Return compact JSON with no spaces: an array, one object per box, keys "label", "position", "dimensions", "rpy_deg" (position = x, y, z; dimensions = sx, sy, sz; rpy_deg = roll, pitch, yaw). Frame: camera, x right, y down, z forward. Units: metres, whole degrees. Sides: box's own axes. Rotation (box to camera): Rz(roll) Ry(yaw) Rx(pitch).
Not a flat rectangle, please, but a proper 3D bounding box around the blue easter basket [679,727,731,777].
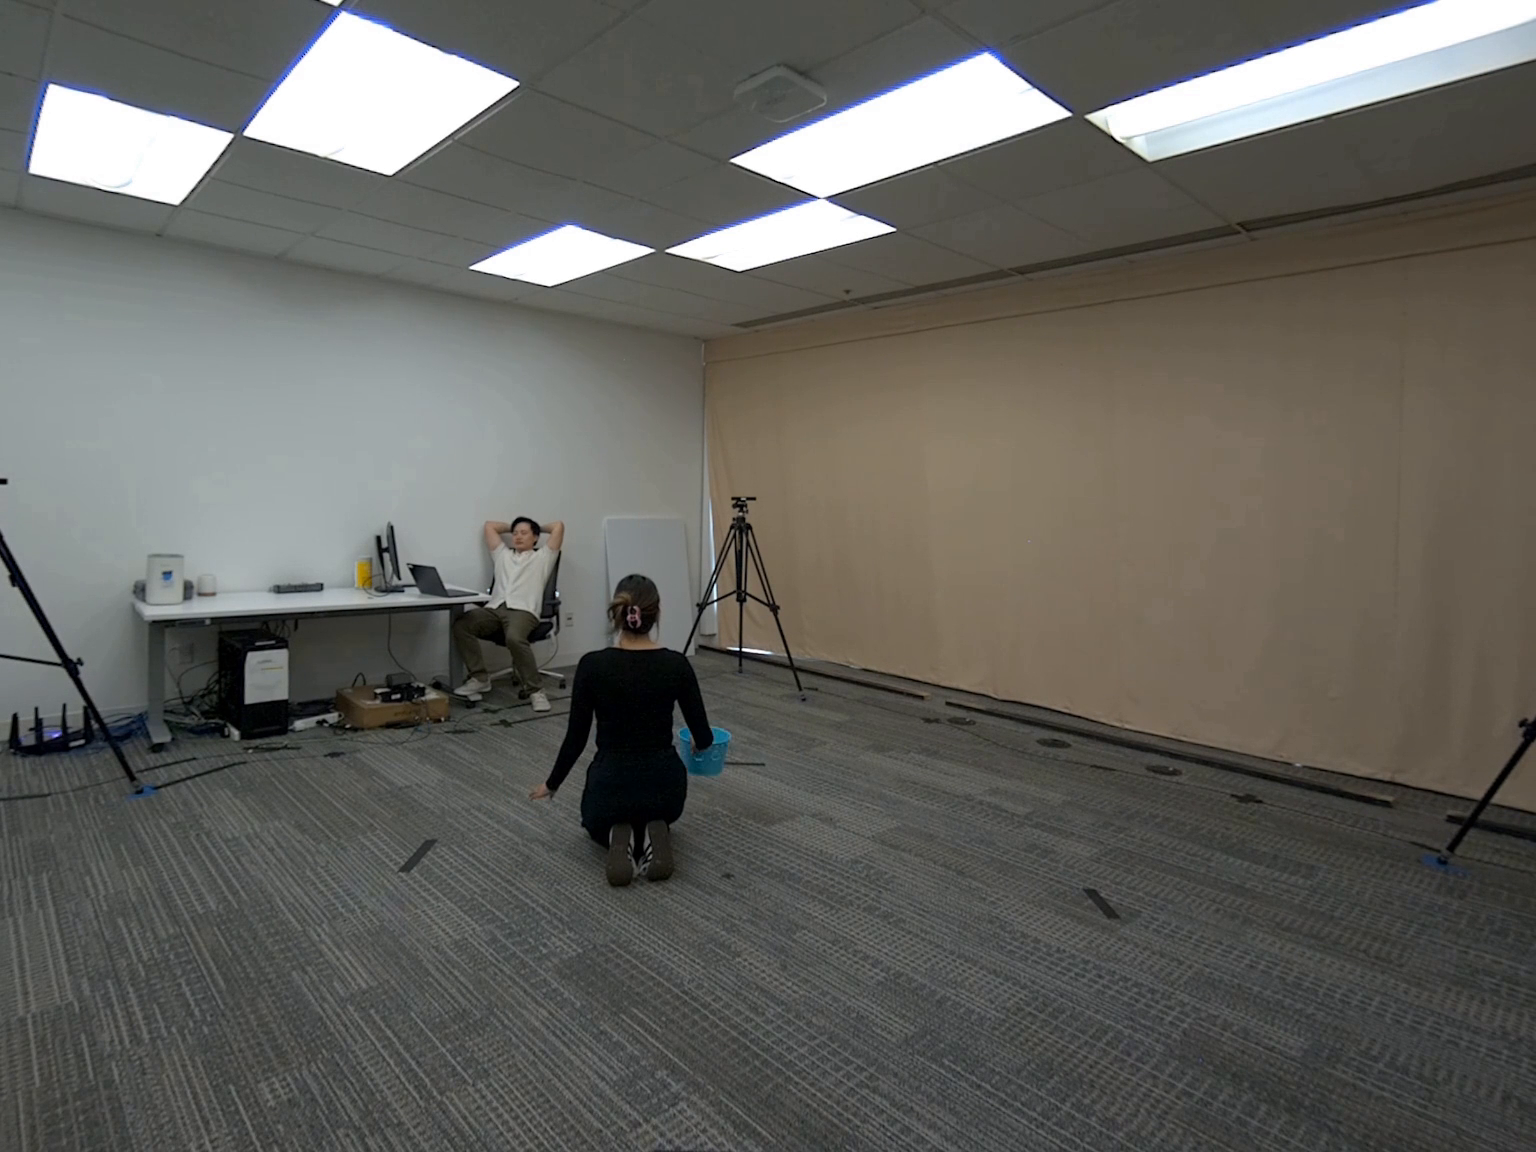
[{"label":"blue easter basket","position":[-0.285,0.754,3.619],"dimensions":[0.243,0.155,0.245],"rpy_deg":[4,7,-2]}]
